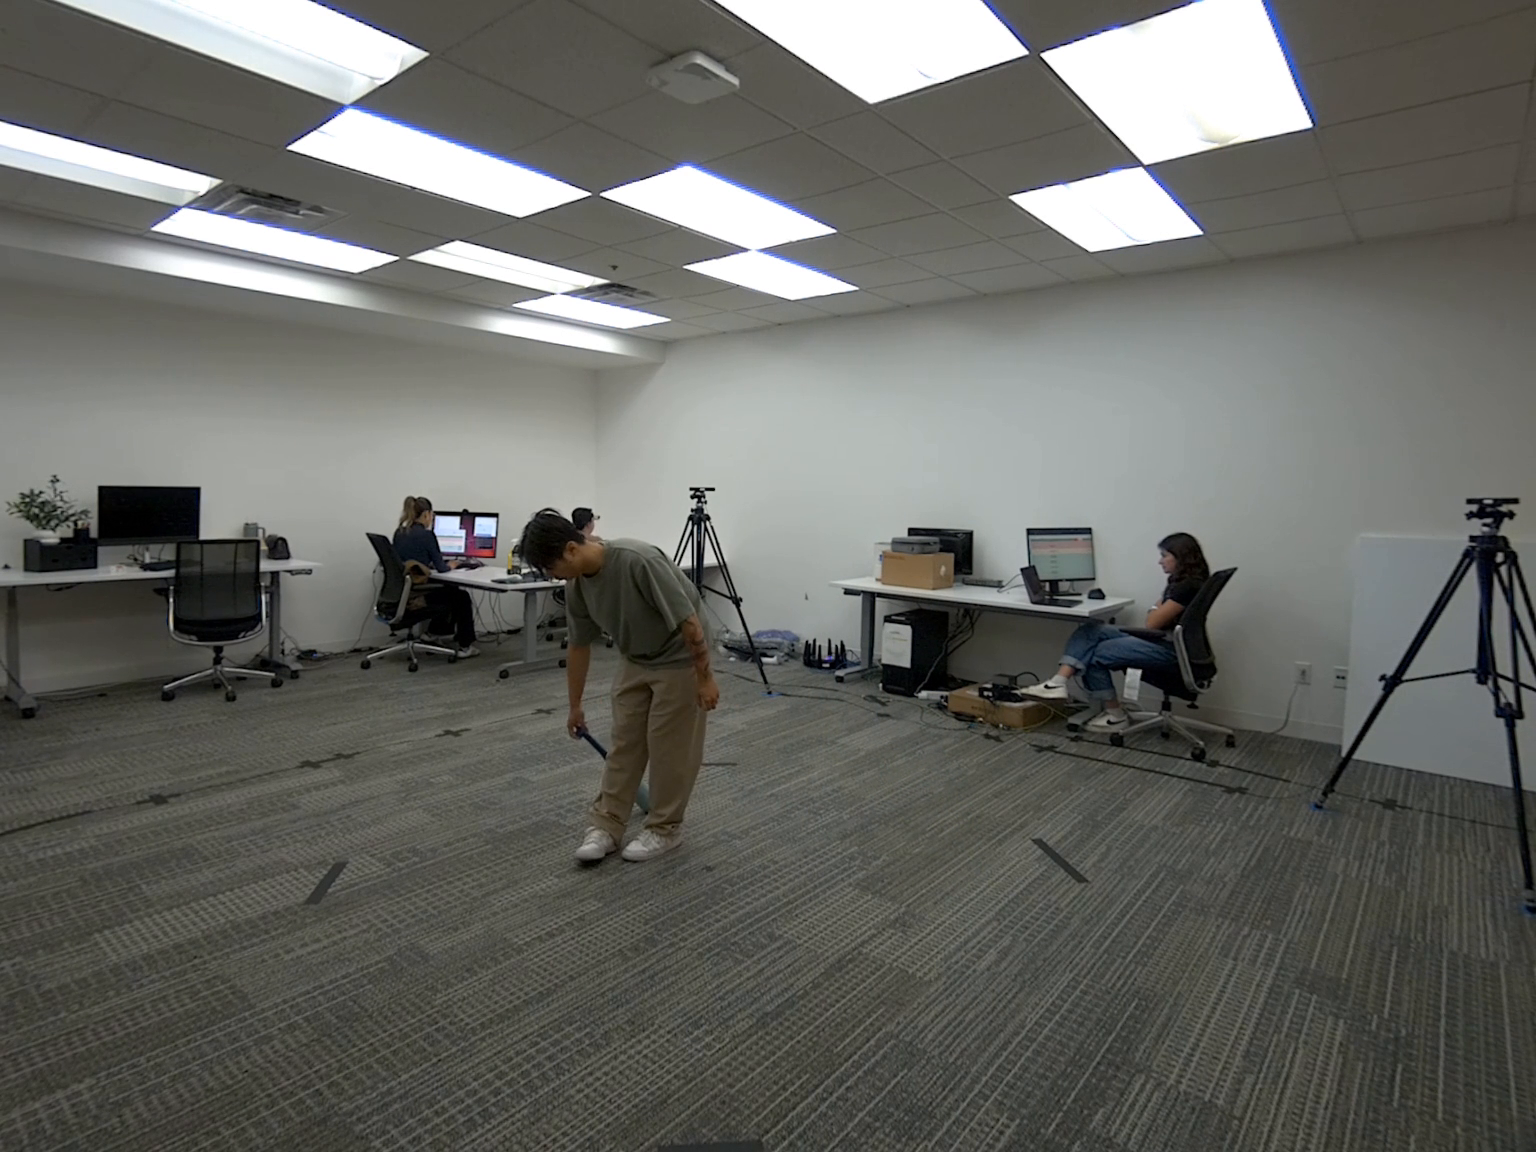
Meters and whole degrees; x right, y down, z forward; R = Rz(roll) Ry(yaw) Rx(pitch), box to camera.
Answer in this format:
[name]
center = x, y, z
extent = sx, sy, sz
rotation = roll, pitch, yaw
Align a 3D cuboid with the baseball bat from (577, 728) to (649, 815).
[baseball bat]
center = -0.641, 0.796, 3.529
extent = 0.090, 0.524, 0.091
rotation = -26, 31, 16
